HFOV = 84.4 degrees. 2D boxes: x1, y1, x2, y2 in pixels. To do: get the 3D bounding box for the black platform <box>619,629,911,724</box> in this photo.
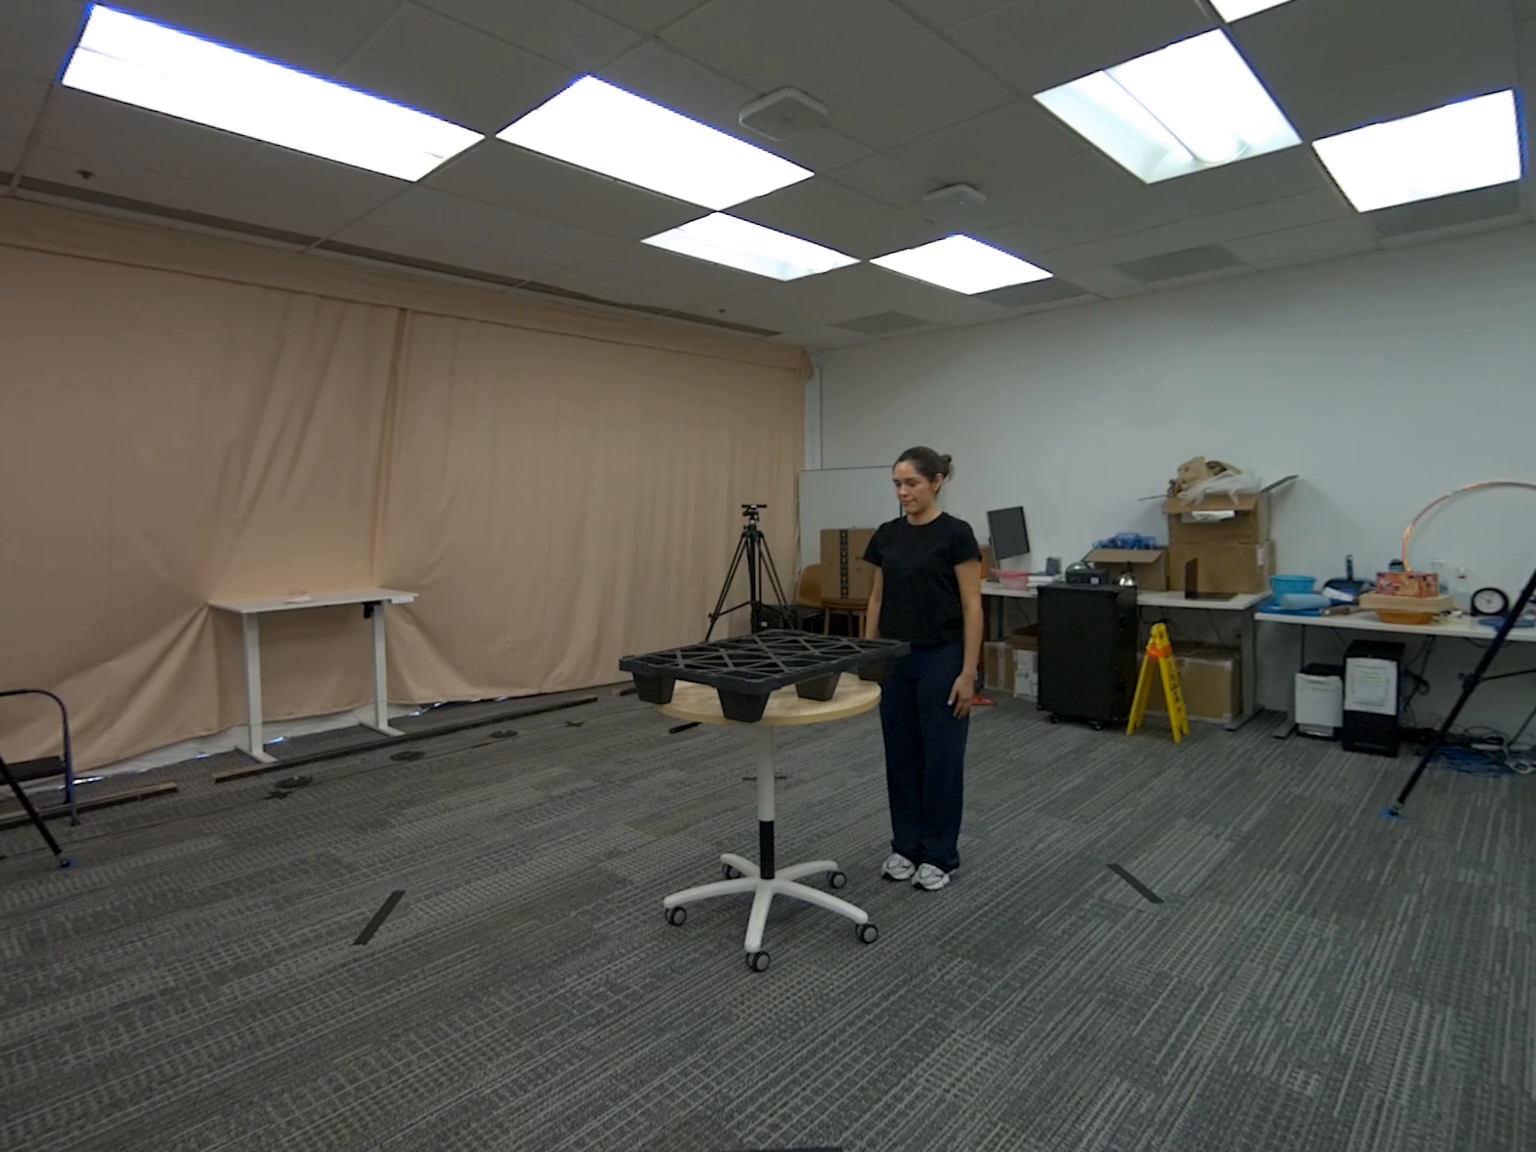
[{"bbox_3d":[0.026,0.313,2.759,0.625,0.143,0.781,4,7,42],"label":"black platform"}]
